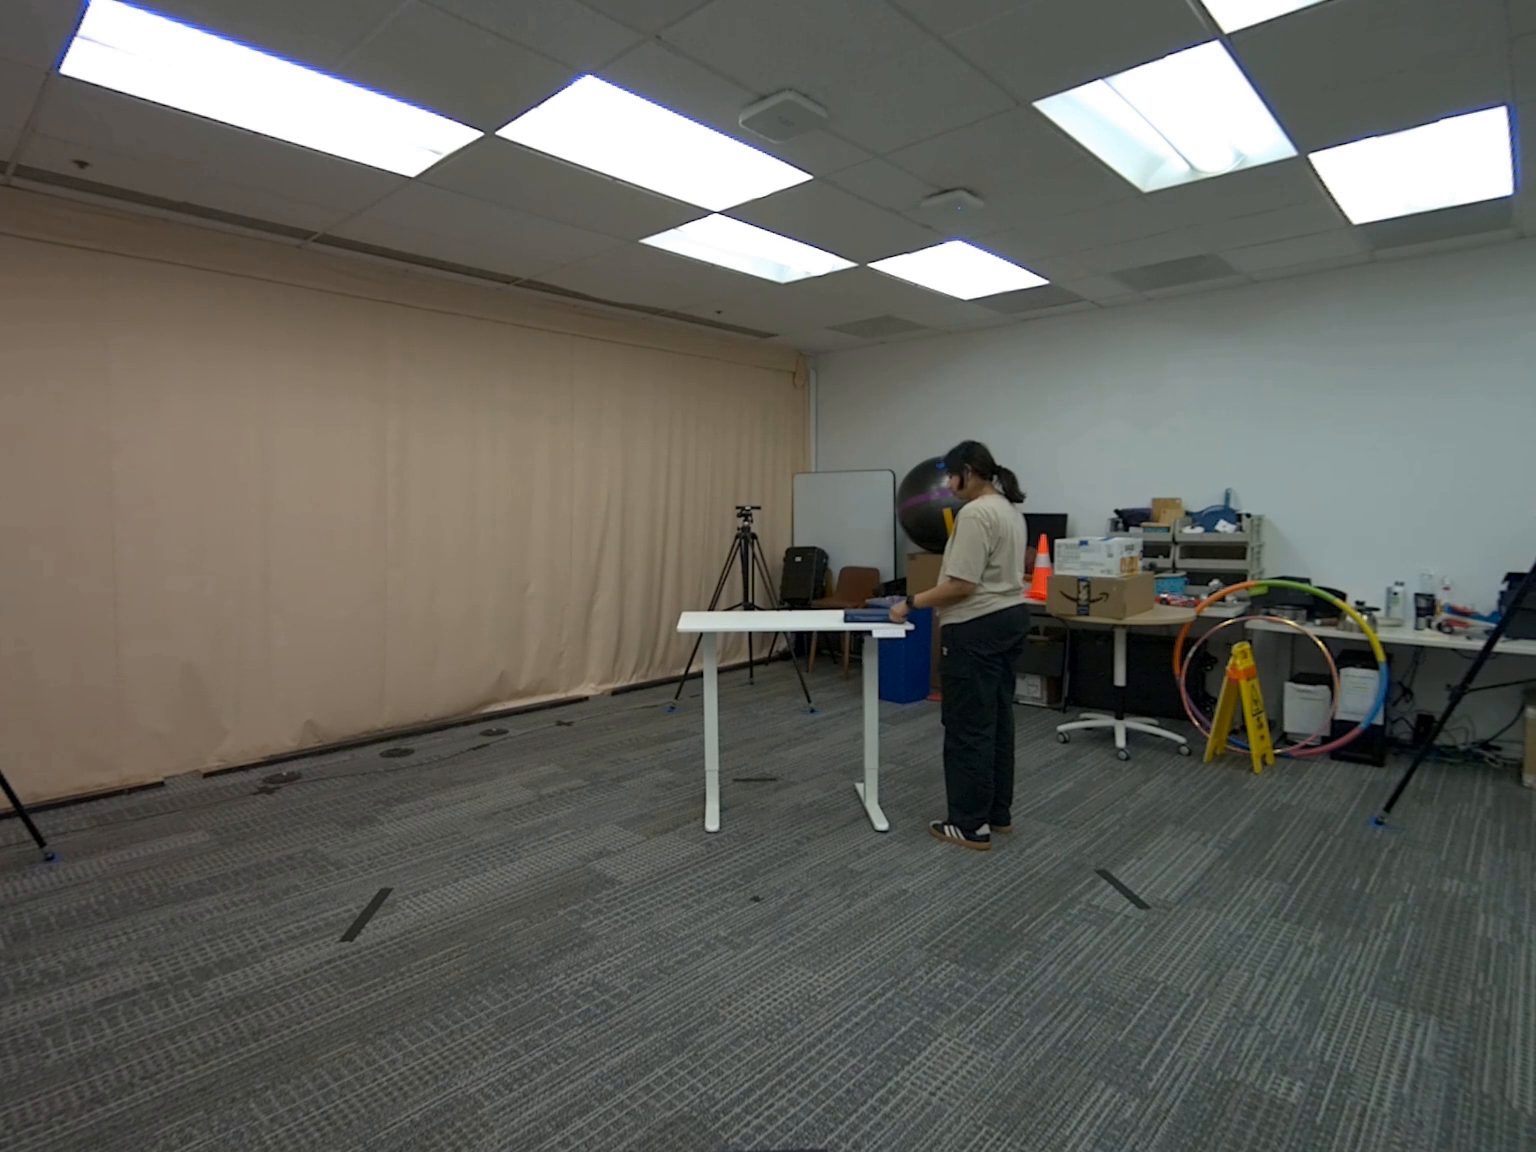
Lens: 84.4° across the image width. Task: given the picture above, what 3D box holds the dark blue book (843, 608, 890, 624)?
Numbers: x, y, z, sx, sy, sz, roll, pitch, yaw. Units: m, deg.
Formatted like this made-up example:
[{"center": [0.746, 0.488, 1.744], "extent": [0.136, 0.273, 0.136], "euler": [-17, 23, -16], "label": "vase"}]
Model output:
[{"center": [0.464, 0.177, 3.732], "extent": [0.247, 0.045, 0.162], "euler": [0, 5, 6], "label": "dark blue book"}]
